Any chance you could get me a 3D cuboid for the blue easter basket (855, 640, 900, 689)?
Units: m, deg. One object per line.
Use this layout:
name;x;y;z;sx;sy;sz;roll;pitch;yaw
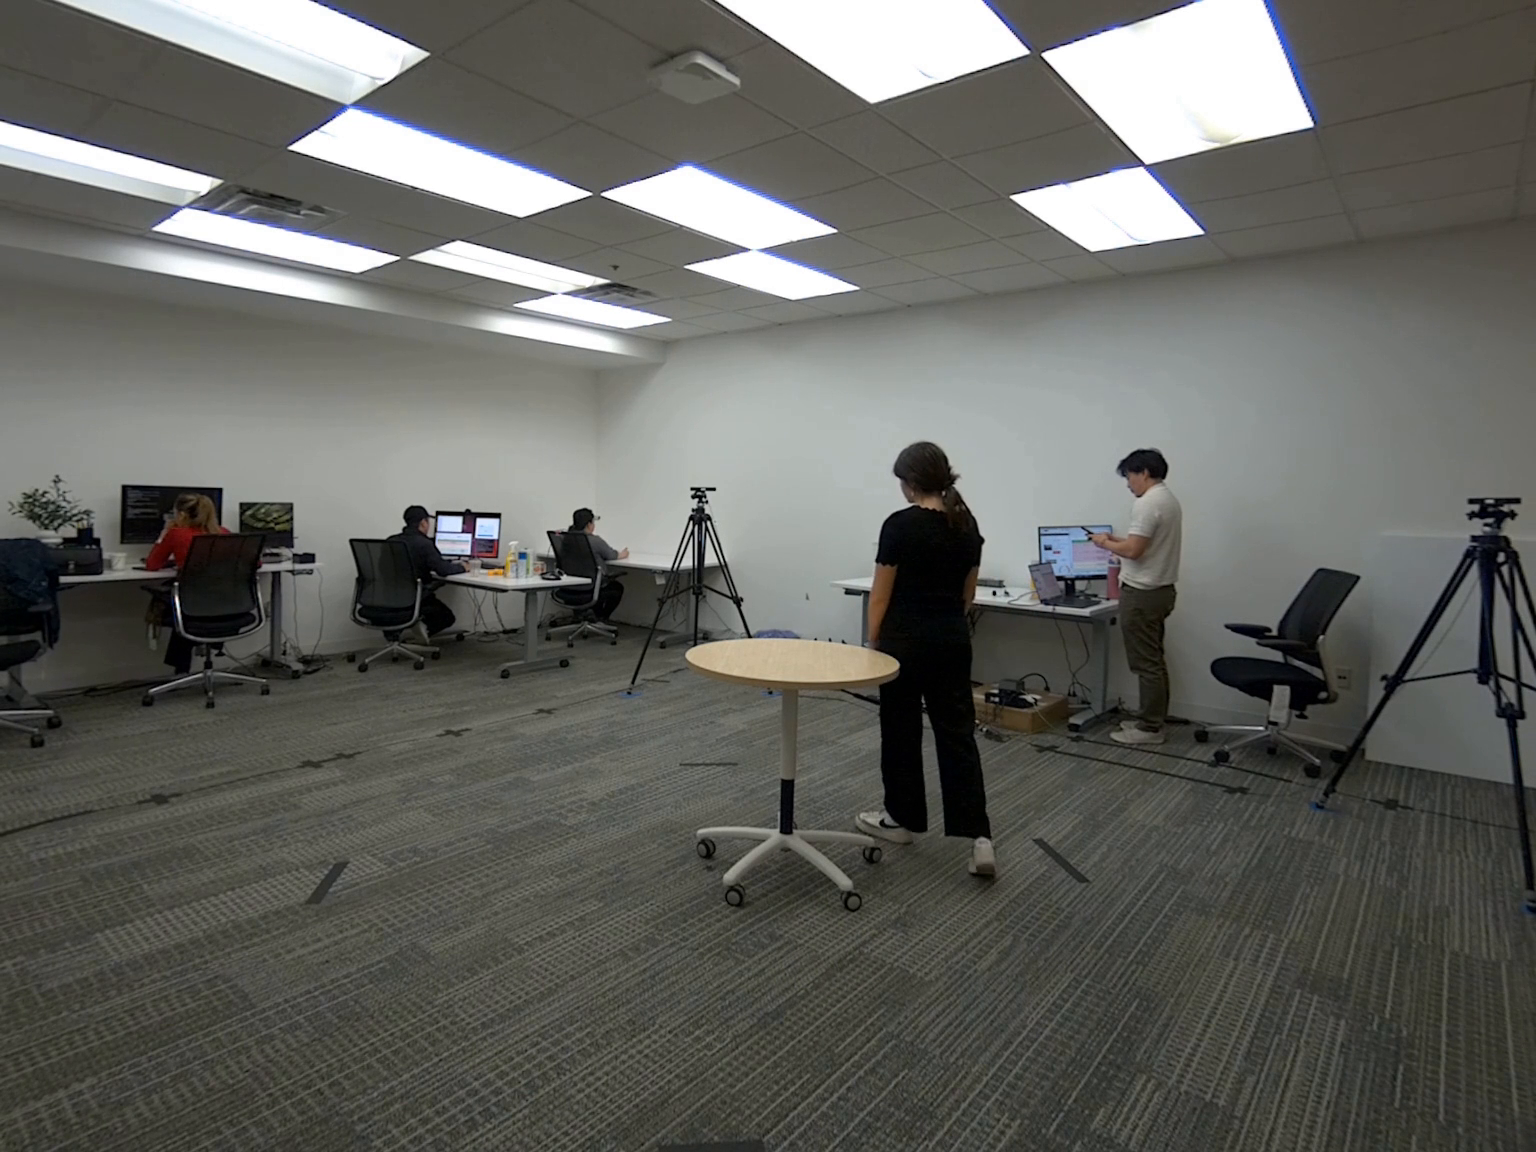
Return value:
blue easter basket;0.508;0.371;3.495;0.243;0.156;0.244;5;2;-2
